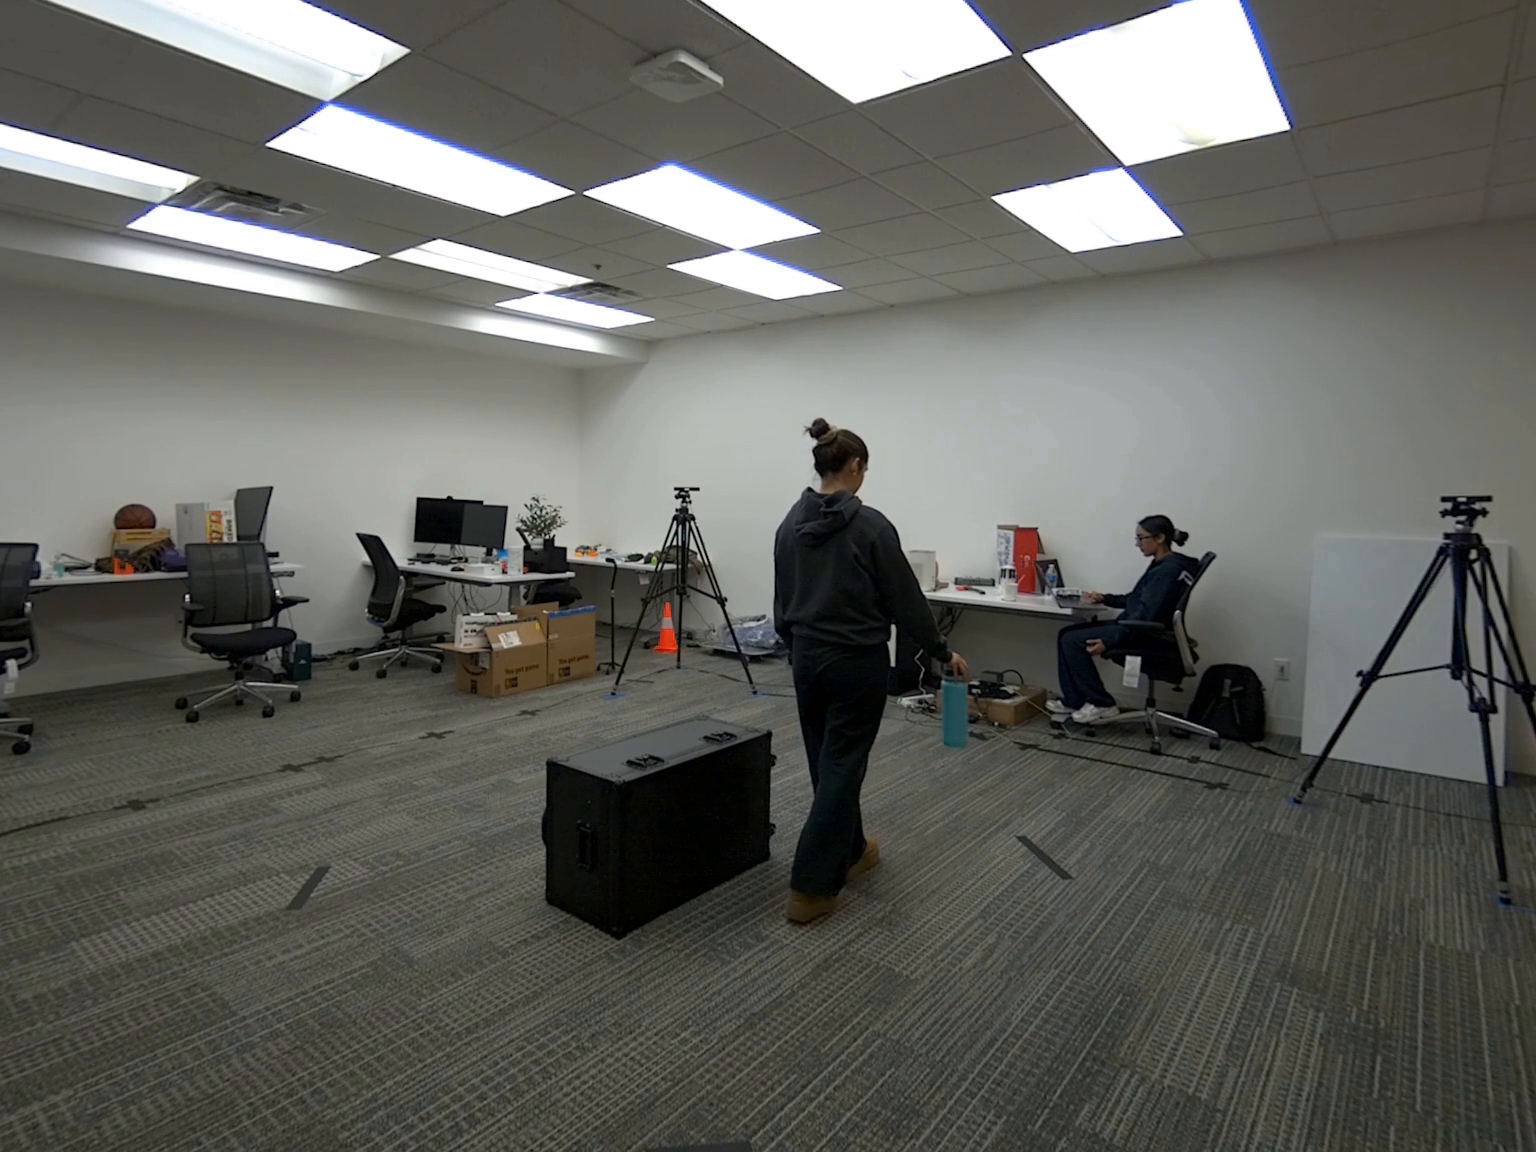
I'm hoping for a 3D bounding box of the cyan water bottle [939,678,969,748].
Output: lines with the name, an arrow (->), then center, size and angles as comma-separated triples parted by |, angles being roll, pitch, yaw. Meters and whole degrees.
cyan water bottle -> 0.651, 0.443, 2.952 | 0.092, 0.282, 0.093 | -2, 3, -2
